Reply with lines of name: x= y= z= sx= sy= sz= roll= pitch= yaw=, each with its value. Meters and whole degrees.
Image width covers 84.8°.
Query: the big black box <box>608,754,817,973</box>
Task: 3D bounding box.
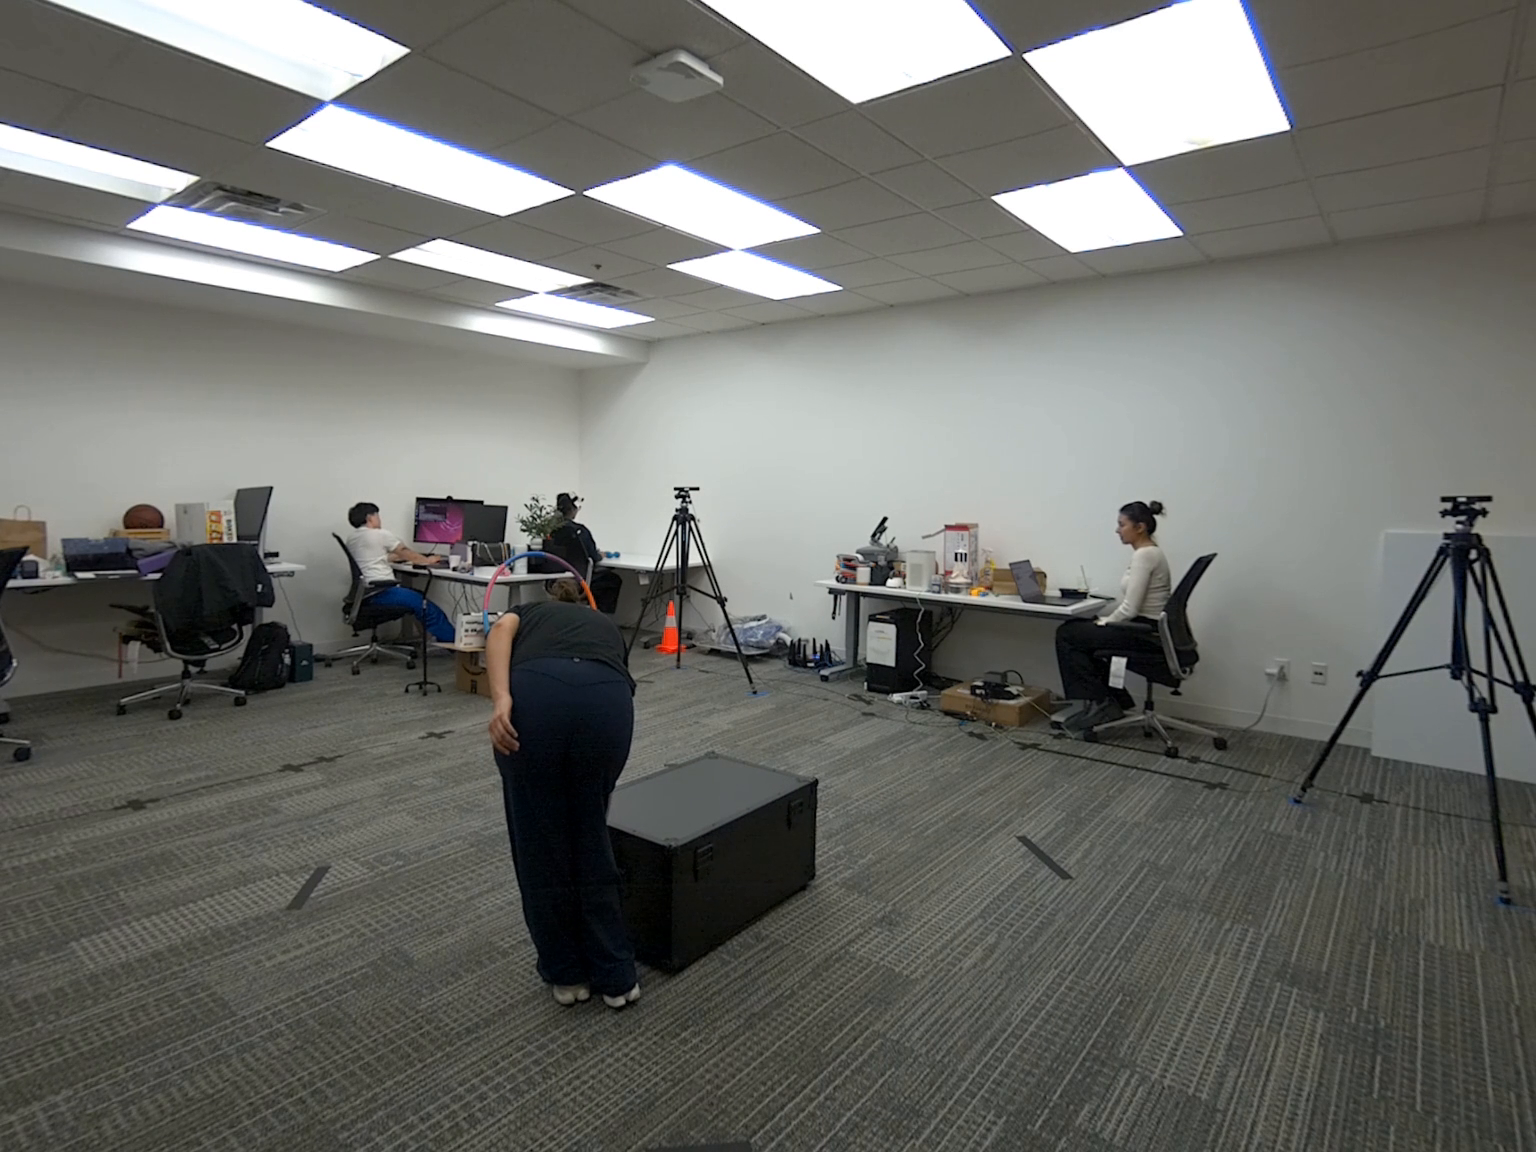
big black box: x=-0.209 y=0.898 z=2.870 sx=0.538 sy=0.394 sz=0.837 roll=5 pitch=7 yaw=36
